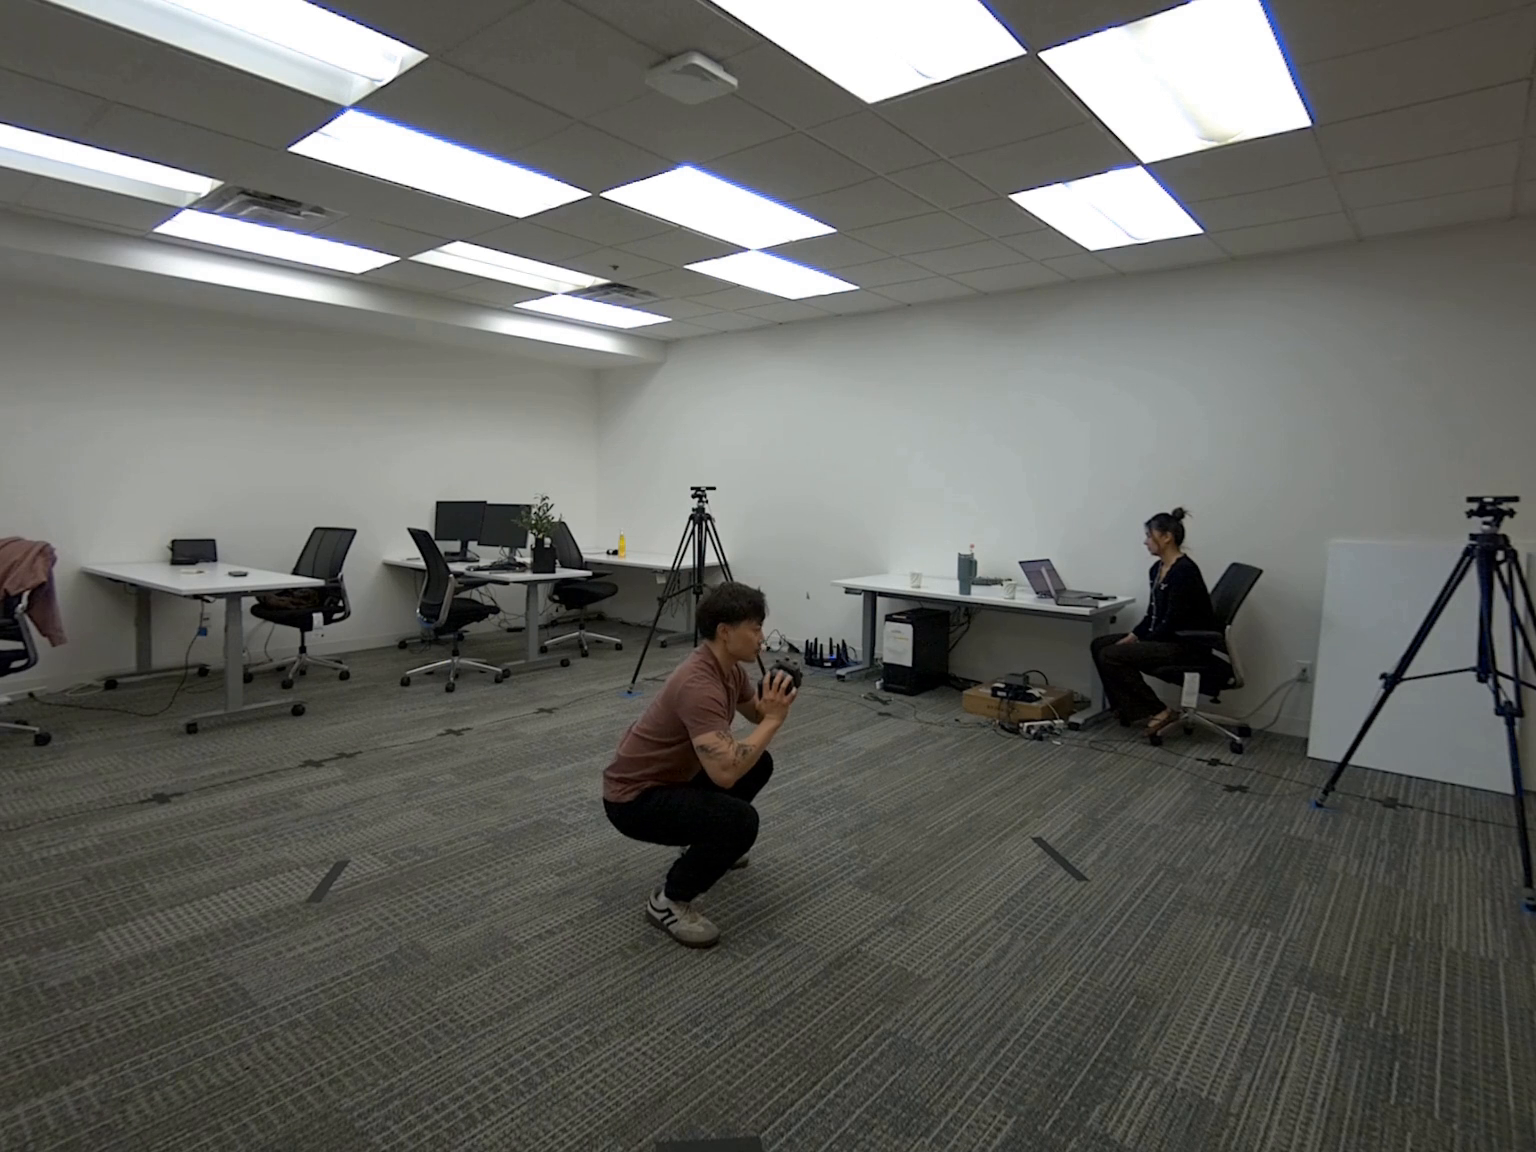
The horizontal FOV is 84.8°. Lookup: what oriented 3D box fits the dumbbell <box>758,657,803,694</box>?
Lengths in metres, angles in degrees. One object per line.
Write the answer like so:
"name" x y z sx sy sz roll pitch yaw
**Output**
"dumbbell" 0.029 0.348 2.782 0.124 0.108 0.290 24 4 7
